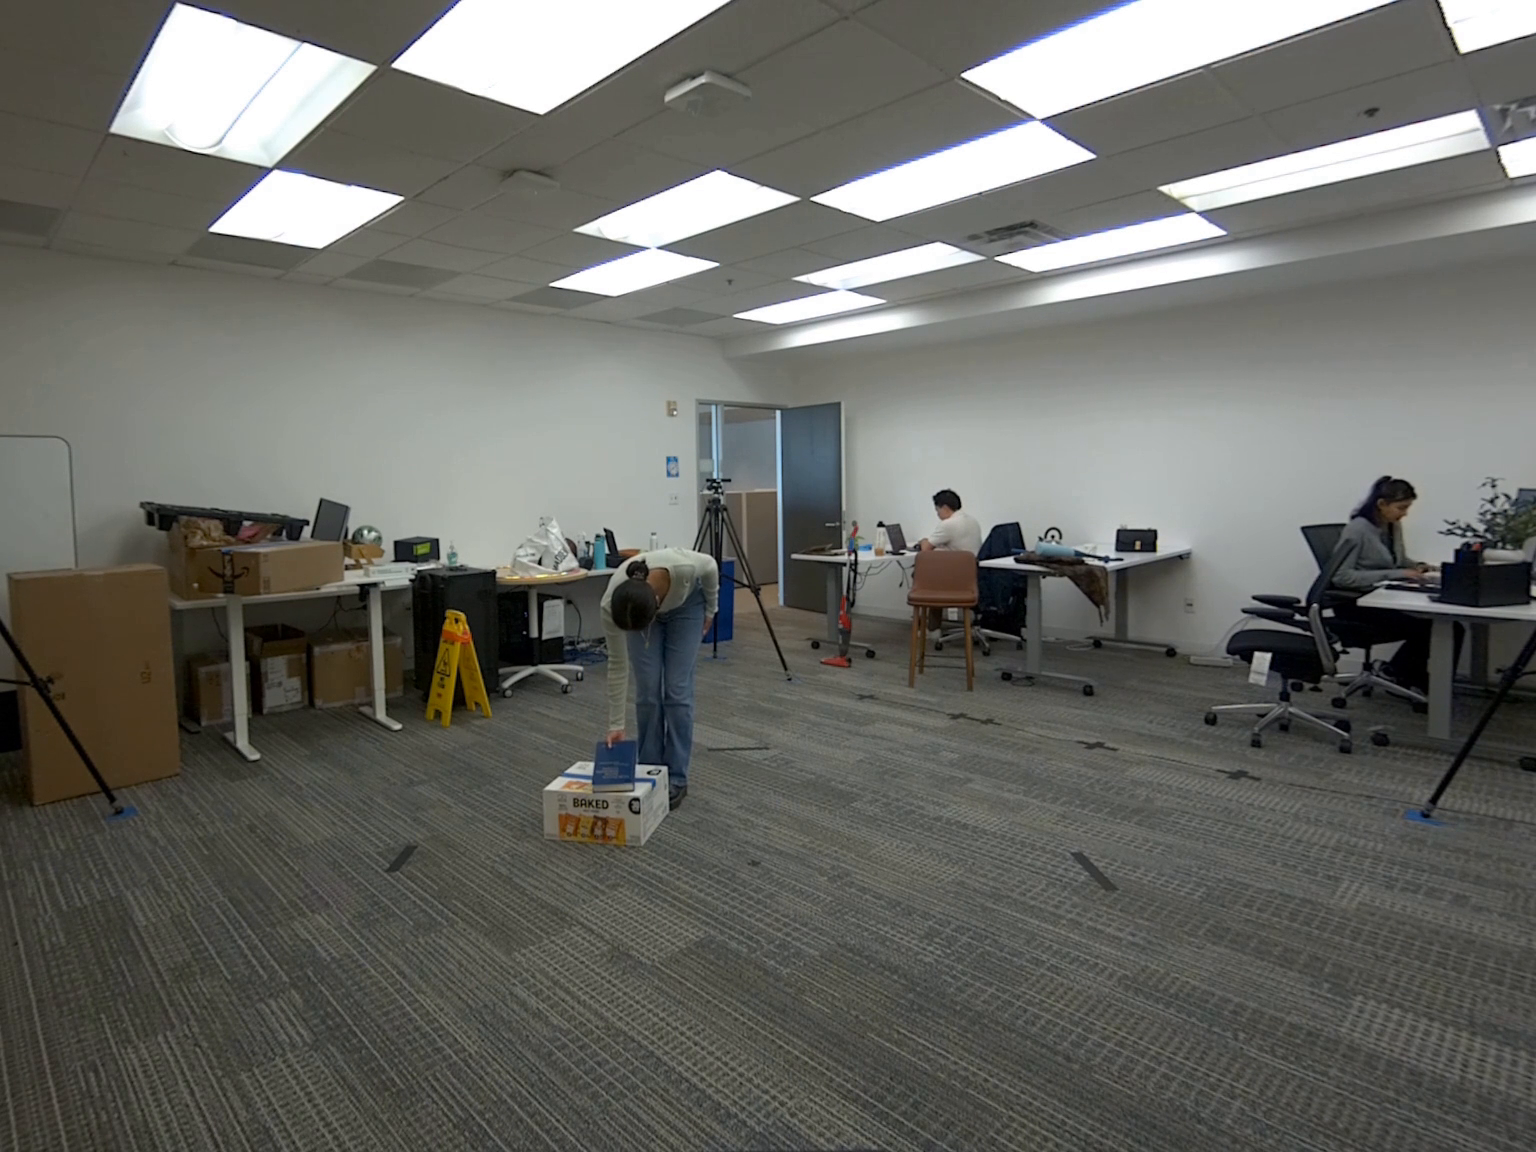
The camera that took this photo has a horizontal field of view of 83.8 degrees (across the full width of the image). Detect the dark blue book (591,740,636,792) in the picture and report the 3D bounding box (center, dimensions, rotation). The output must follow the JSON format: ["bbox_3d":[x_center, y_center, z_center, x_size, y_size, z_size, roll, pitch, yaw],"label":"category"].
[{"bbox_3d":[-0.607,0.759,3.386,0.163,0.044,0.252,-4,29,-4],"label":"dark blue book"}]
